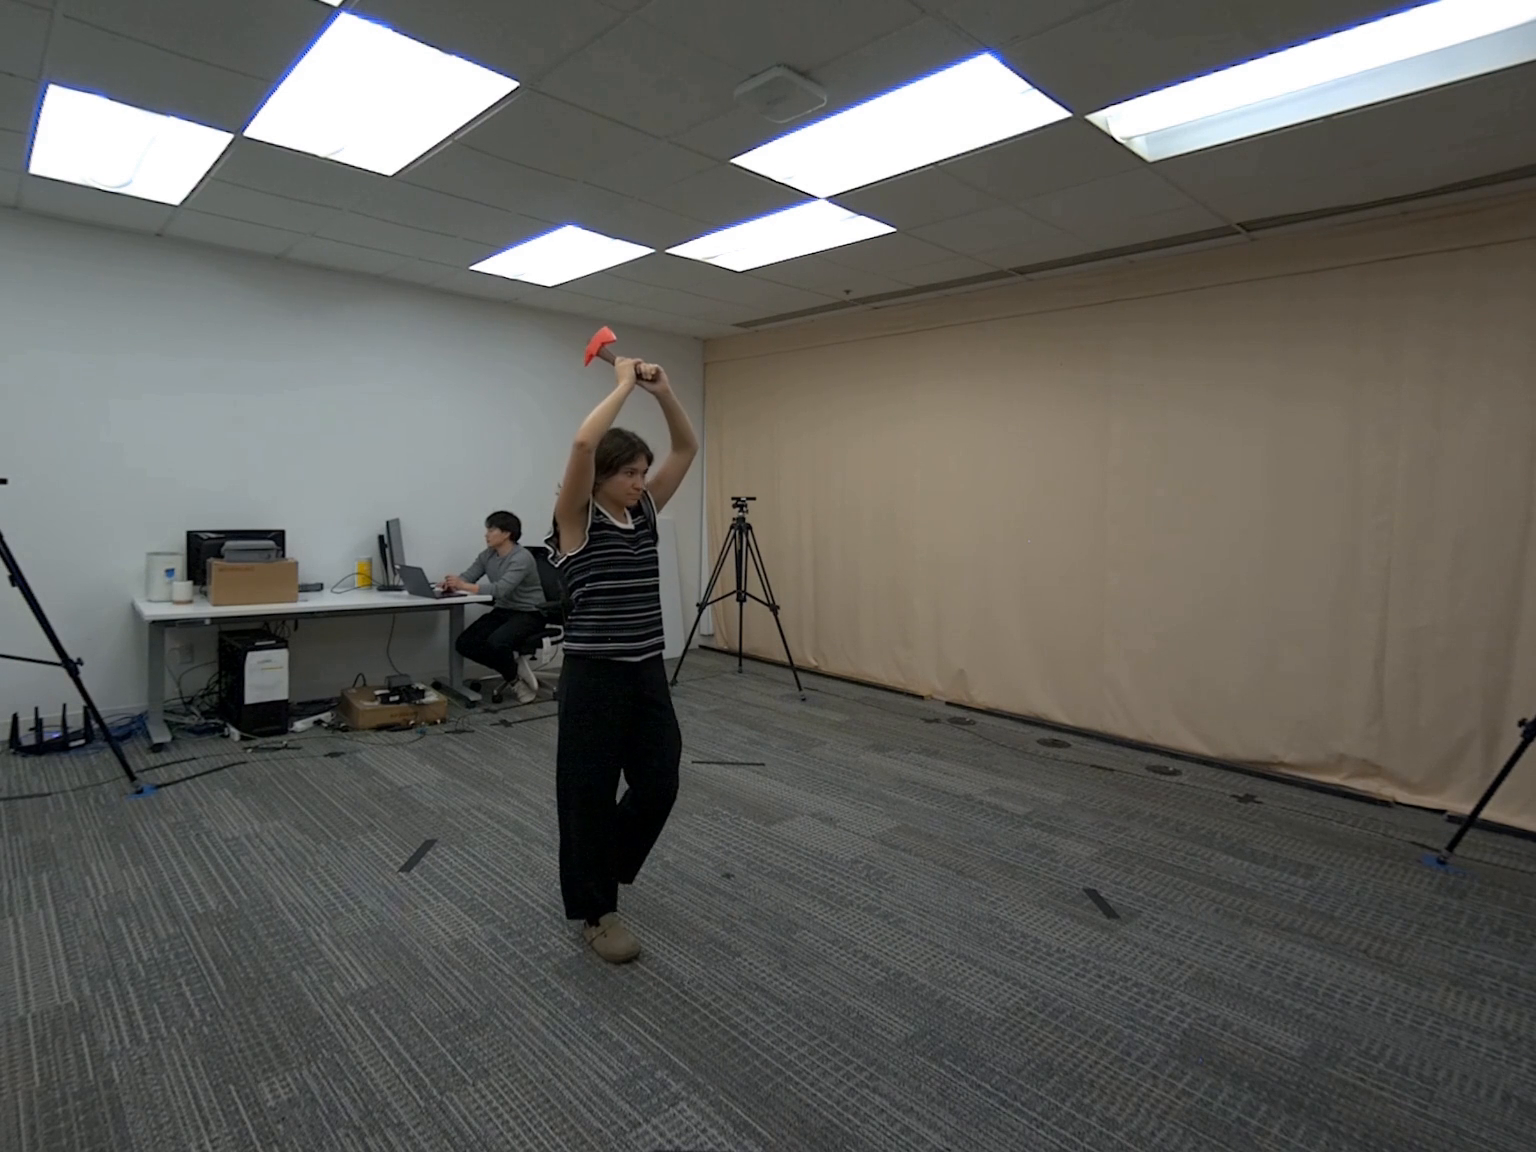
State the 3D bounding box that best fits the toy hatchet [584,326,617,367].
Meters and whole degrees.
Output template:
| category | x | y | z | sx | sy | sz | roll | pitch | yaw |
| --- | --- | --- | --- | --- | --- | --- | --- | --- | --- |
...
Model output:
| category | x | y | z | sx | sy | sz | roll | pitch | yaw |
| --- | --- | --- | --- | --- | --- | --- | --- | --- | --- |
| toy hatchet | -0.428 | -0.669 | 2.511 | 0.276 | 0.131 | 0.029 | 16 | 4 | 23 |
